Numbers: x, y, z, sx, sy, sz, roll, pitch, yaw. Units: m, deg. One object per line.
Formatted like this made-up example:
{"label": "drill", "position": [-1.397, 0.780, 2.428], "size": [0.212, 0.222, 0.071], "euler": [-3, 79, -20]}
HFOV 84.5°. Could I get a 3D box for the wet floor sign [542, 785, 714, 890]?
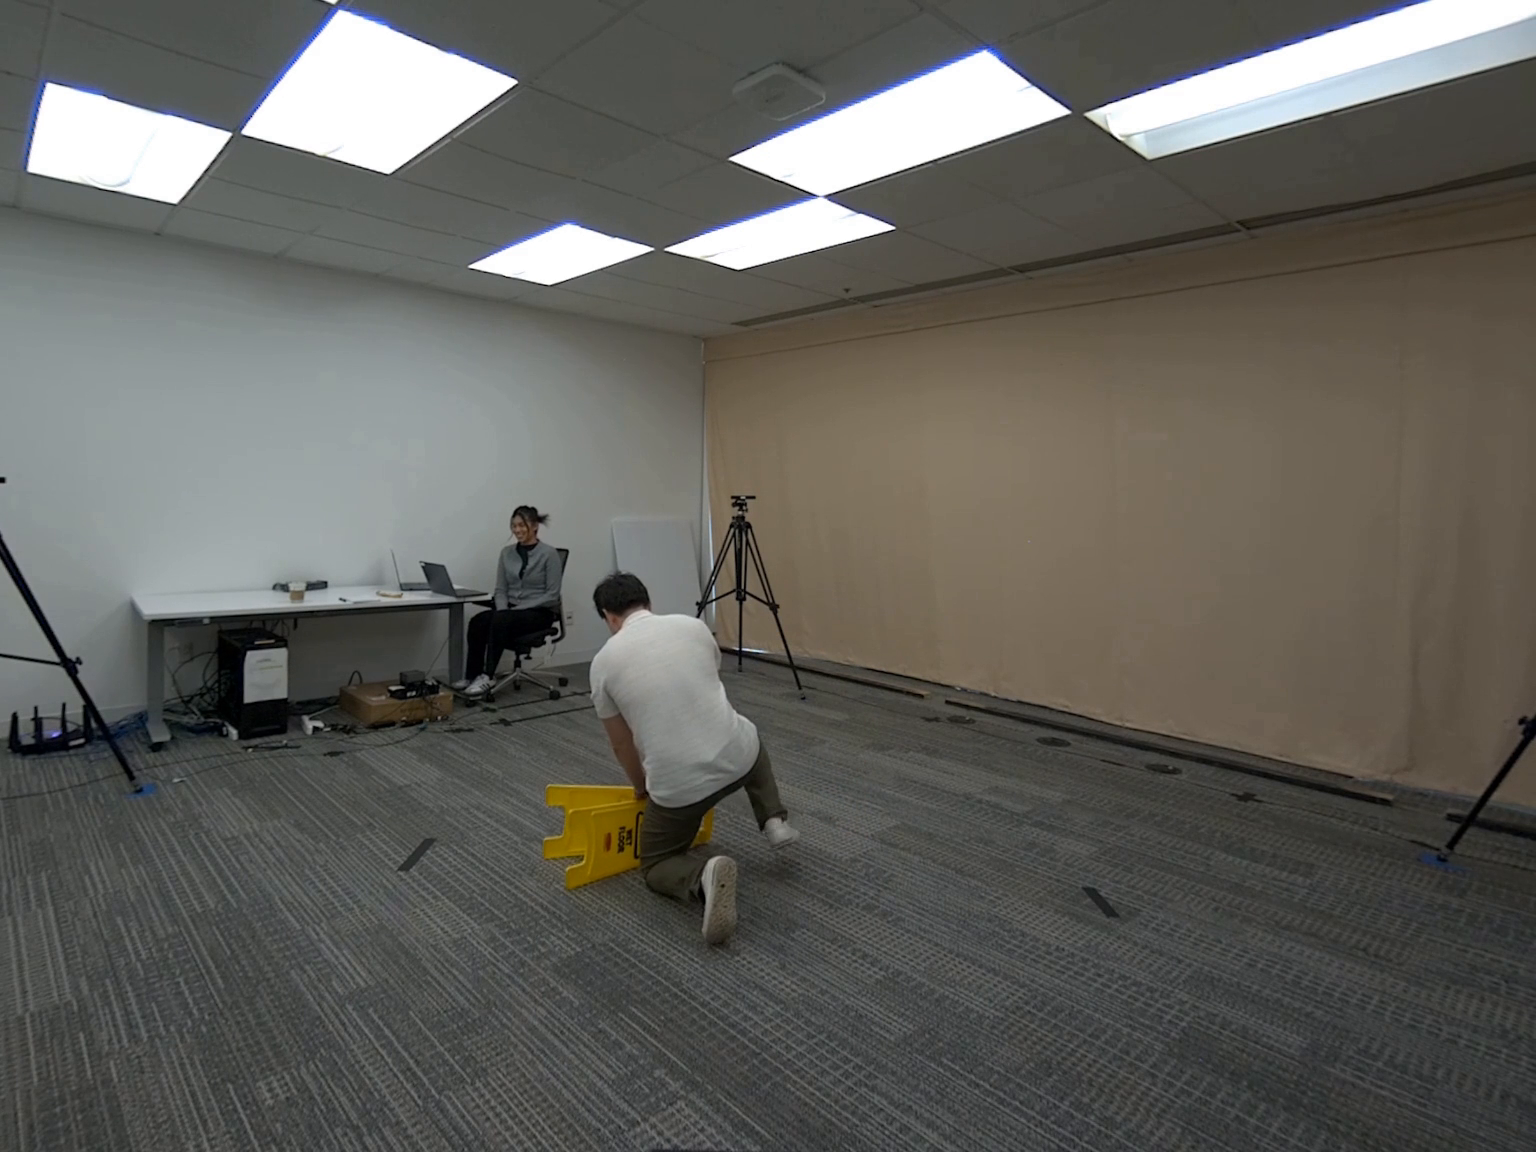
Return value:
{"label": "wet floor sign", "position": [-0.512, 0.953, 3.236], "size": [0.632, 0.282, 0.296], "euler": [3, 1, -30]}
